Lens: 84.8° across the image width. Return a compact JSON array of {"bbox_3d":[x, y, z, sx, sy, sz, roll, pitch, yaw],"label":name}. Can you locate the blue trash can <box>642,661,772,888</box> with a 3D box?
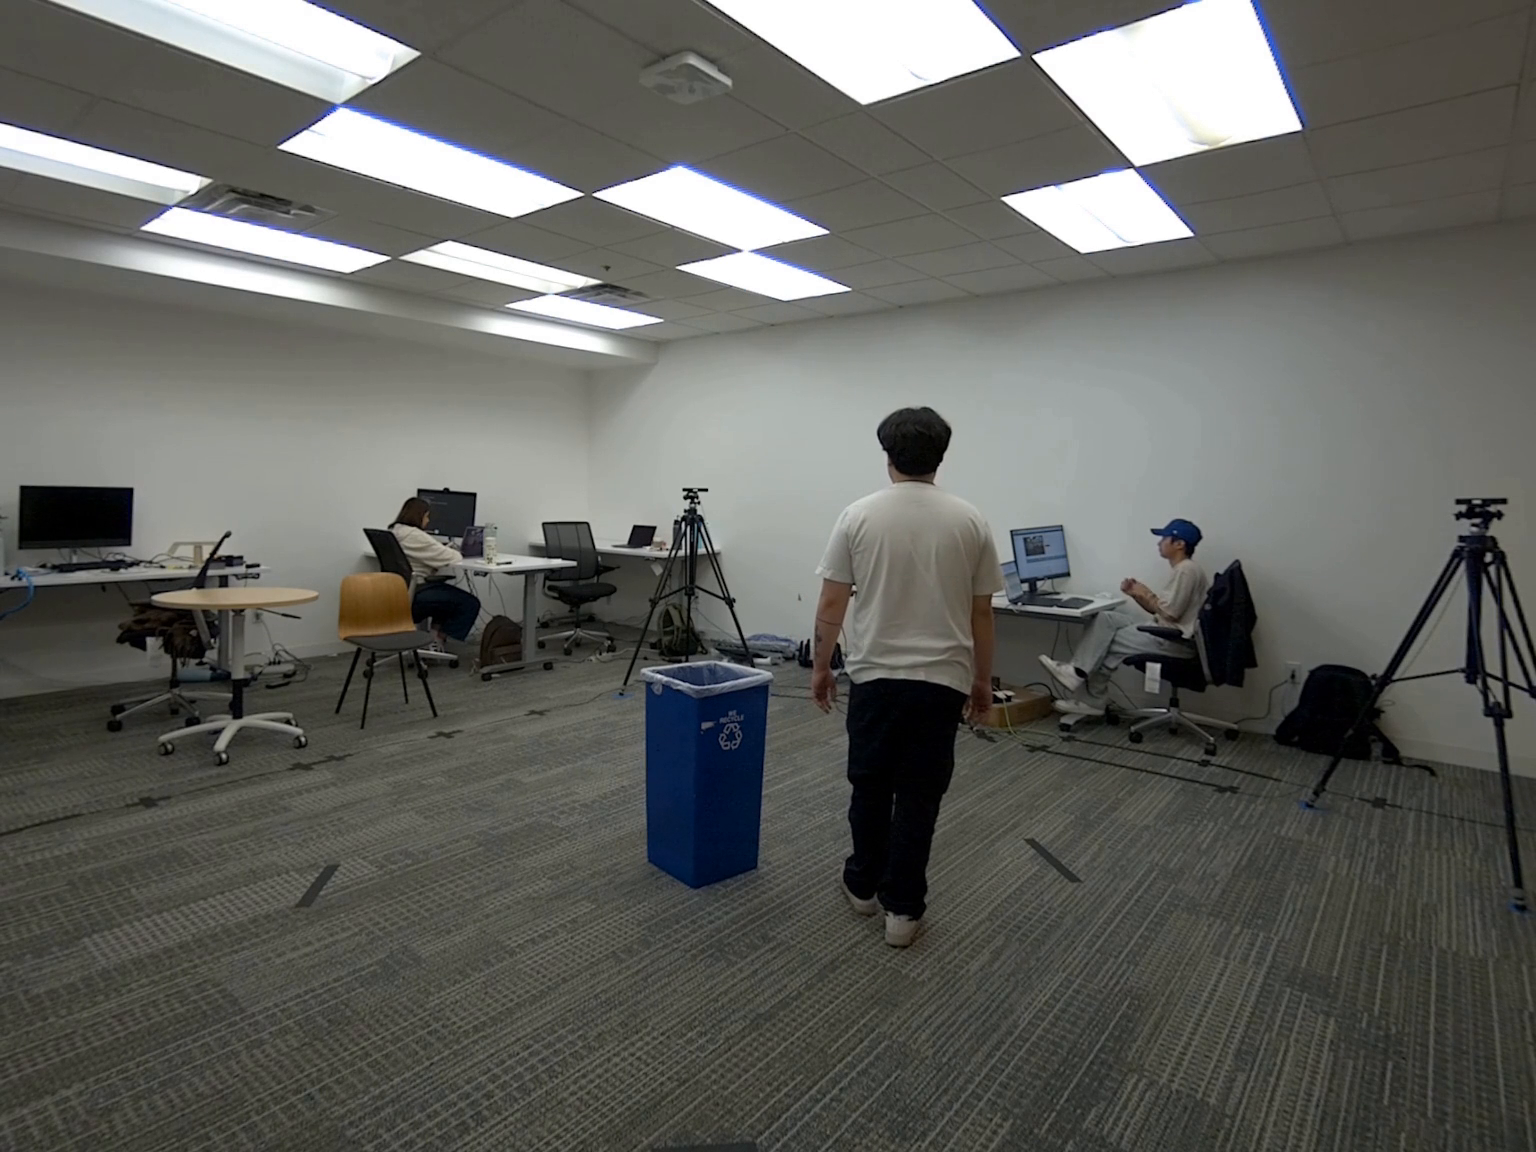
[{"bbox_3d":[-0.241,0.707,3.146,0.363,0.711,0.391,-2,5,-41],"label":"blue trash can"}]
